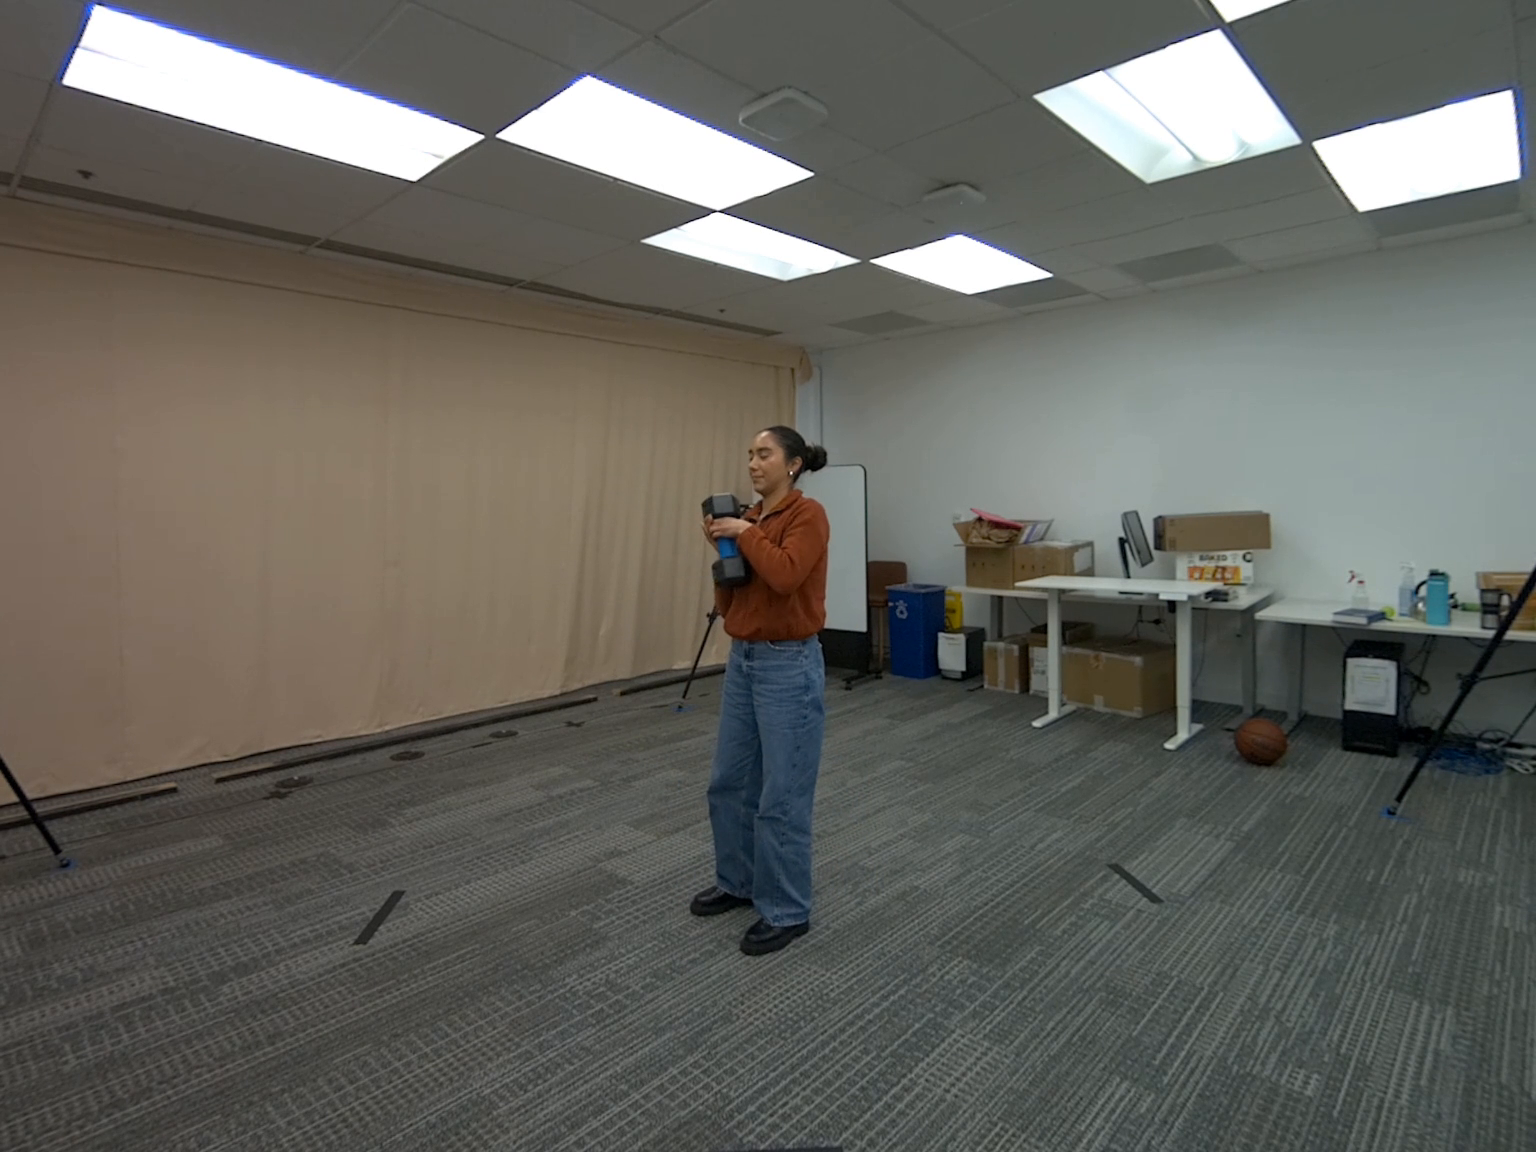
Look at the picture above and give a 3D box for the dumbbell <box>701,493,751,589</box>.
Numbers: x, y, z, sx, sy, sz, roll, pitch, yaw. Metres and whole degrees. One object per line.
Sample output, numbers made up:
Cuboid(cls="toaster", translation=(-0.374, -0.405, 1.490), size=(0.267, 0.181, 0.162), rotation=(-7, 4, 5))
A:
Cuboid(cls="dumbbell", translation=(-0.131, -0.108, 2.666), size=(0.105, 0.297, 0.125), rotation=(8, -24, -36))
